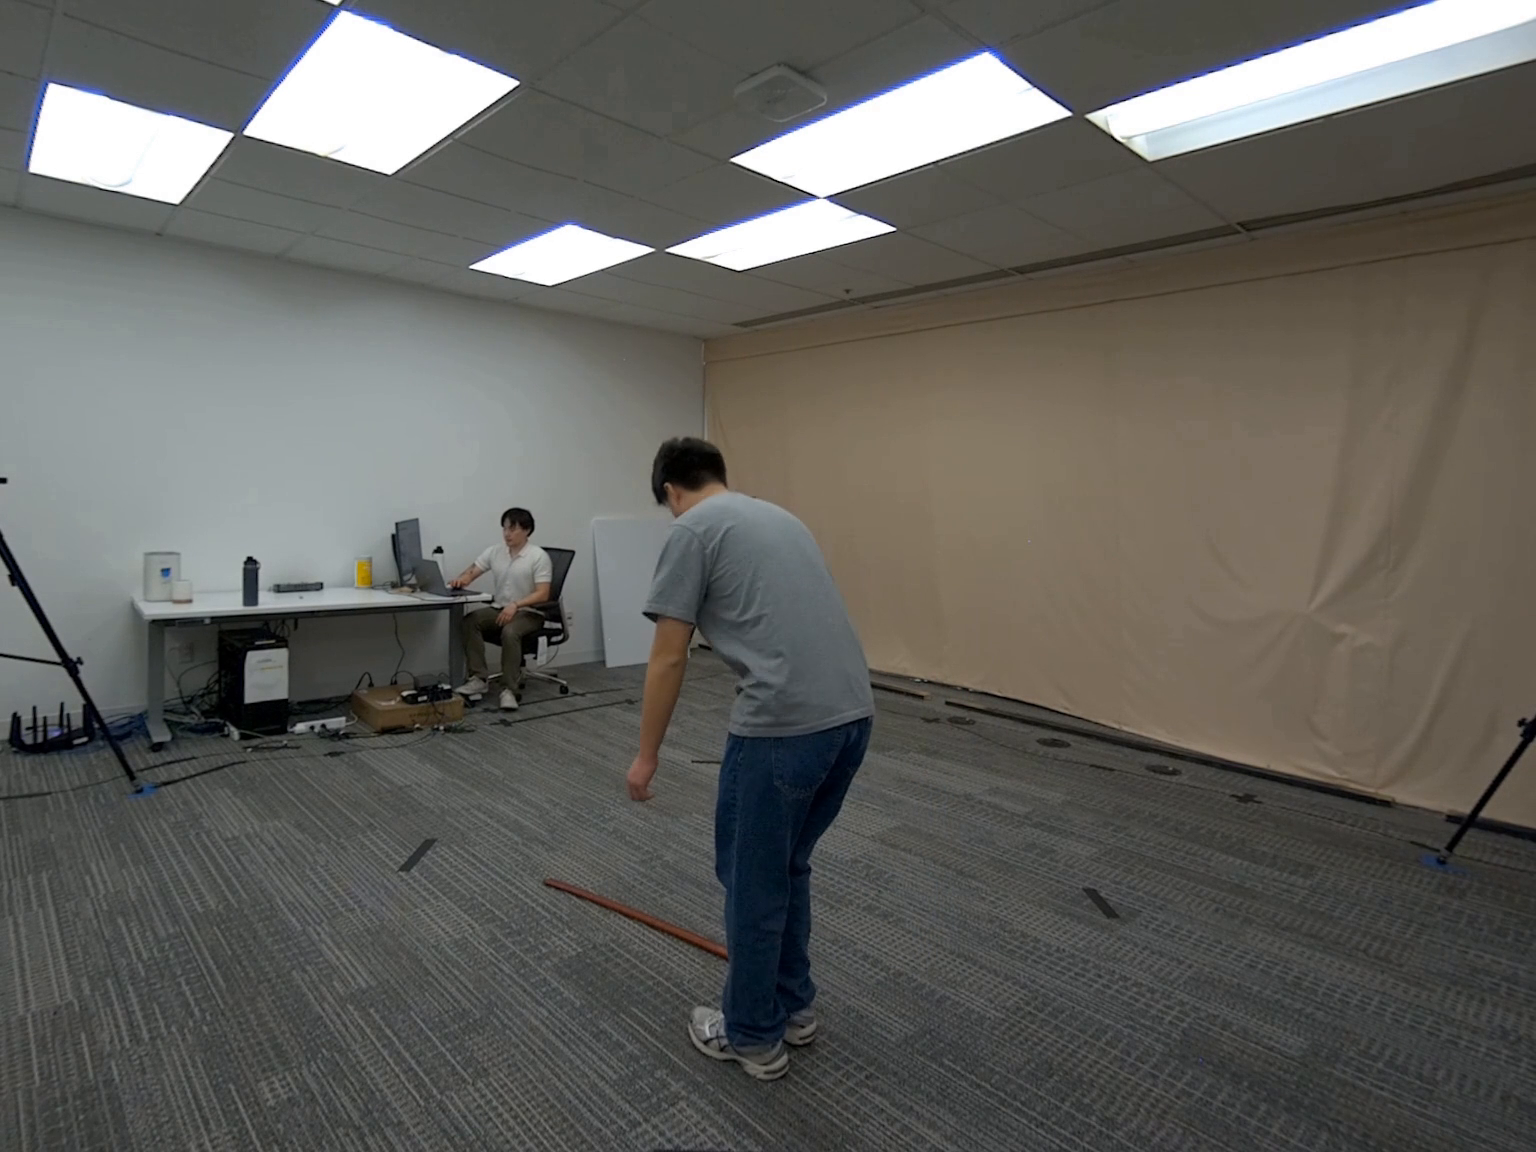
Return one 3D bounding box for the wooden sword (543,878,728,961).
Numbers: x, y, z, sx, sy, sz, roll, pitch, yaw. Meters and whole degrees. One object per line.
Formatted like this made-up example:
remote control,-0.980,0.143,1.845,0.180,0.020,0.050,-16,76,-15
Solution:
wooden sword,-0.368,1.113,2.717,1.049,0.024,0.050,5,-16,35
